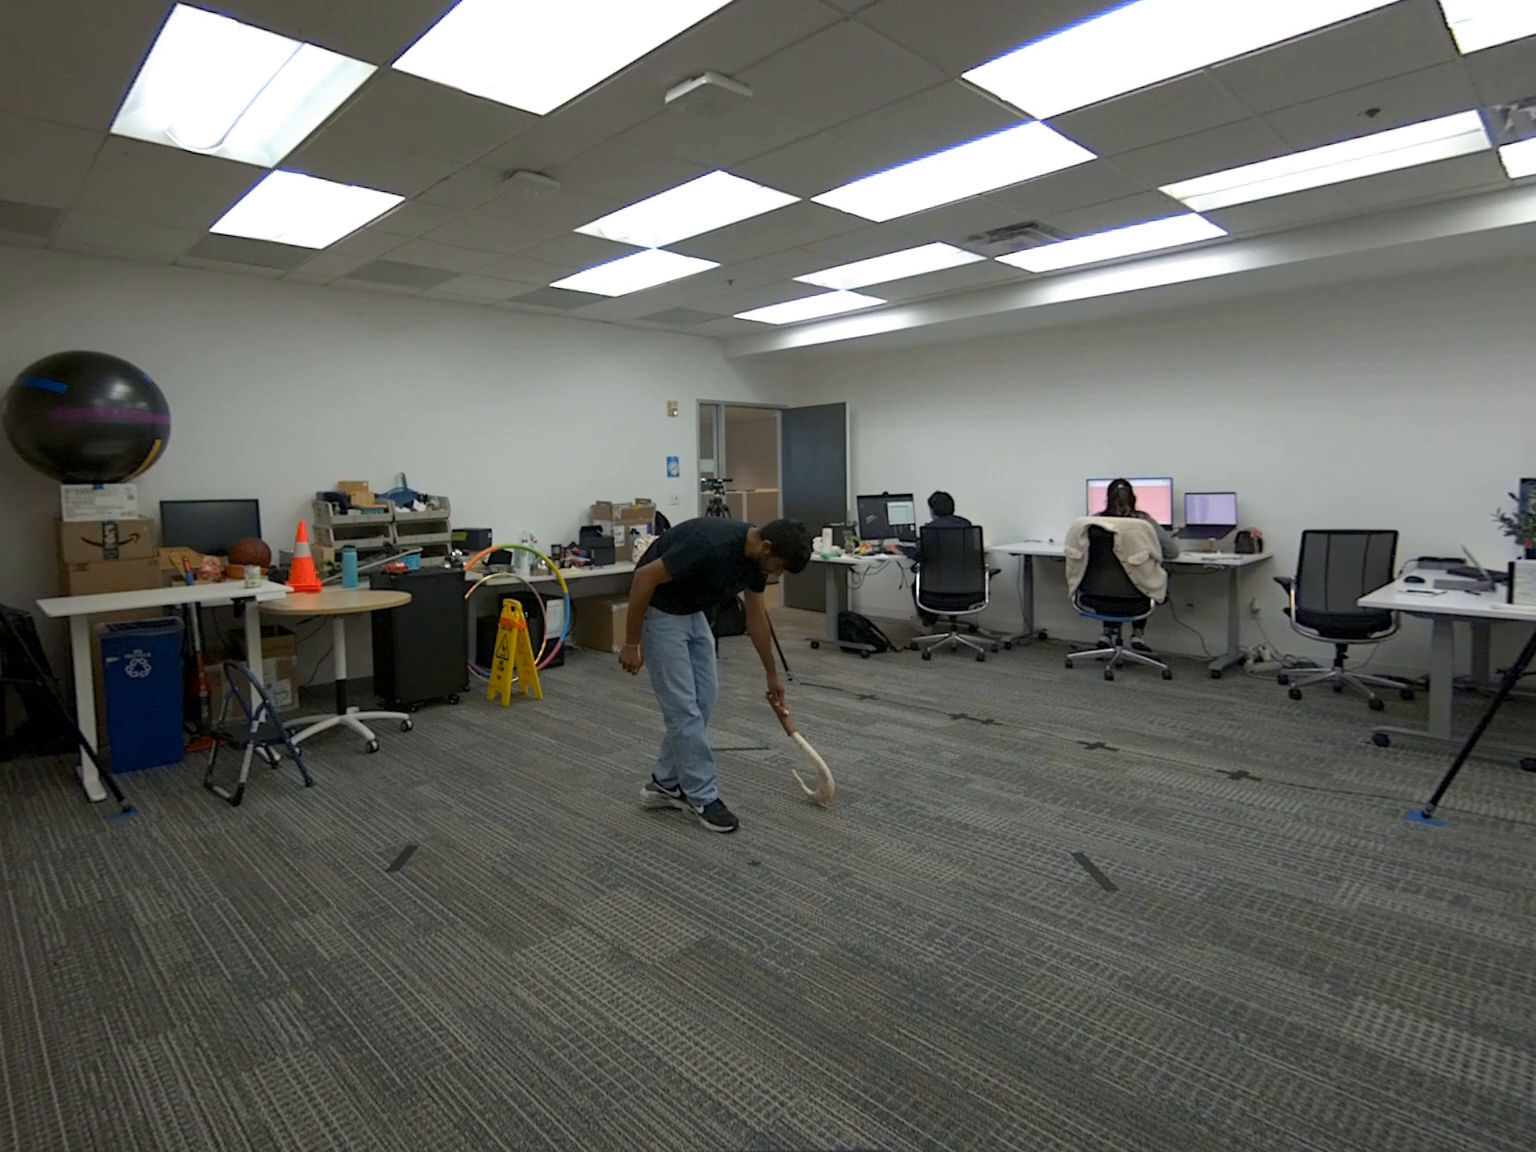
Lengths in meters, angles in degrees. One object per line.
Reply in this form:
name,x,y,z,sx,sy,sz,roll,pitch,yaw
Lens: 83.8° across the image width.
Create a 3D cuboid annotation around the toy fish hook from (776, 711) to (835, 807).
toy fish hook,0.114,0.751,3.706,0.047,0.521,0.223,-8,-34,-44
